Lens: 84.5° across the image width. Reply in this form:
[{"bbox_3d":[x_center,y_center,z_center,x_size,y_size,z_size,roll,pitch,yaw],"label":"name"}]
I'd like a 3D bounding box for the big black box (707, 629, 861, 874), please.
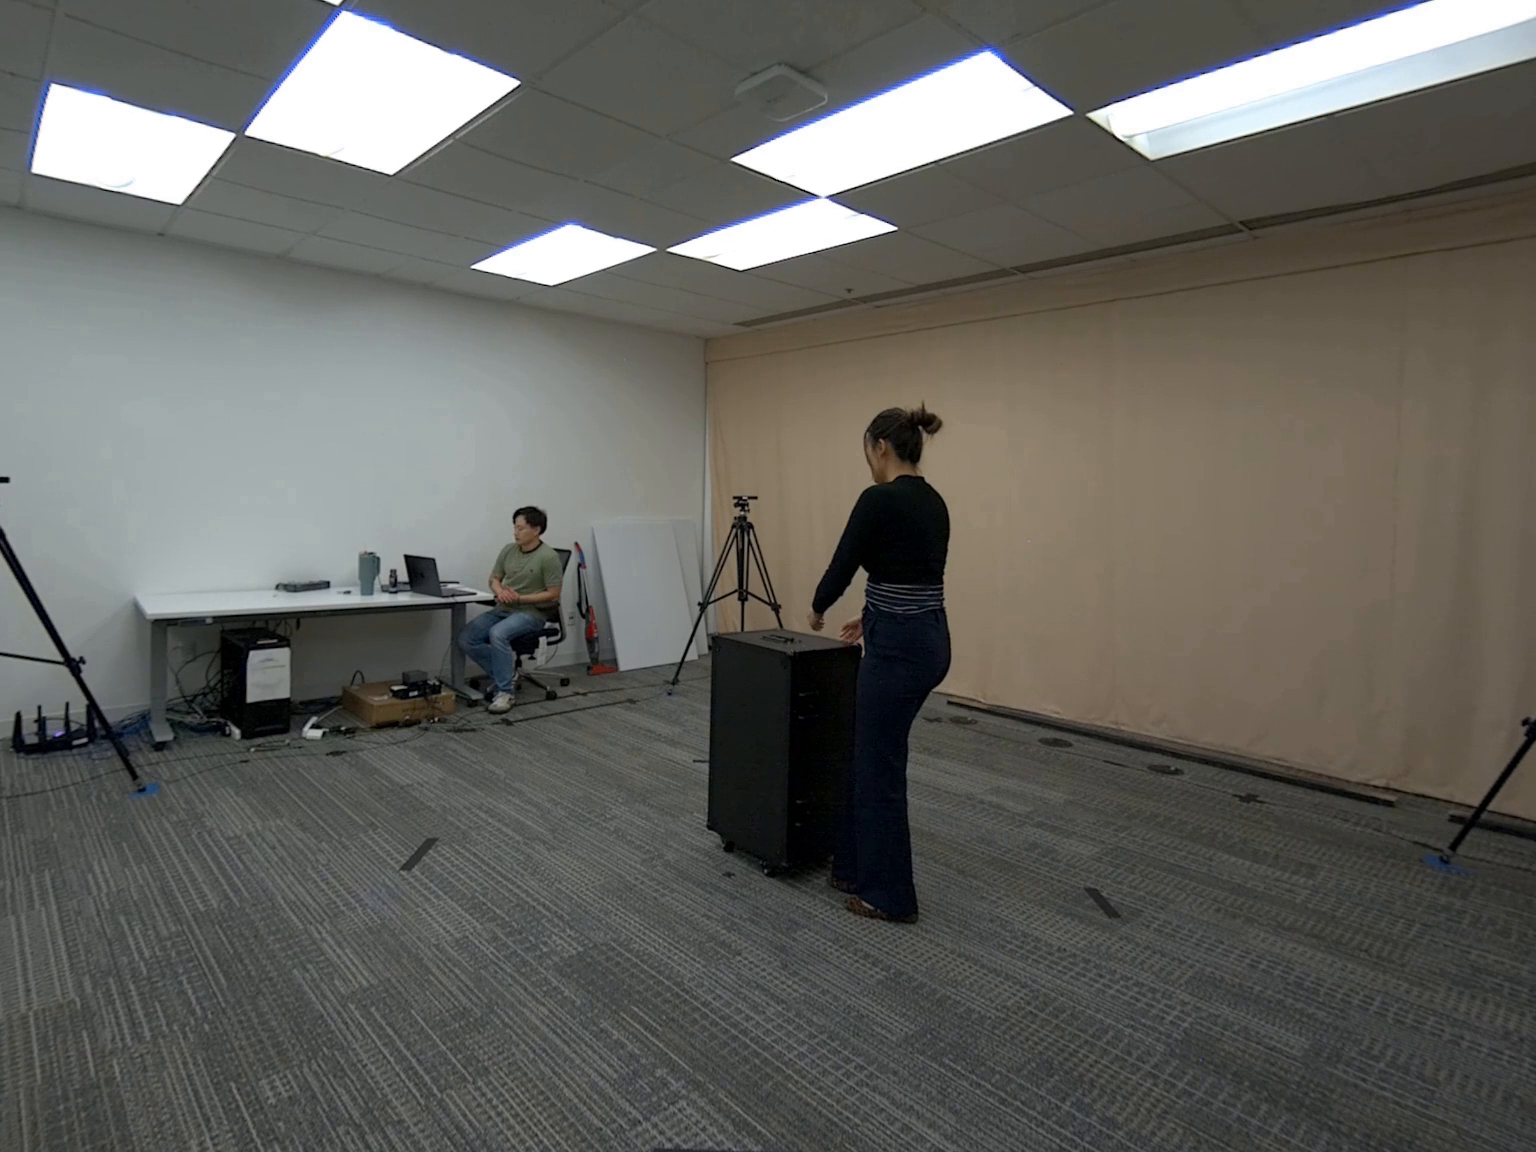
[{"bbox_3d":[0.042,0.616,3.259,0.387,0.860,0.534,0,3,-38],"label":"big black box"}]
